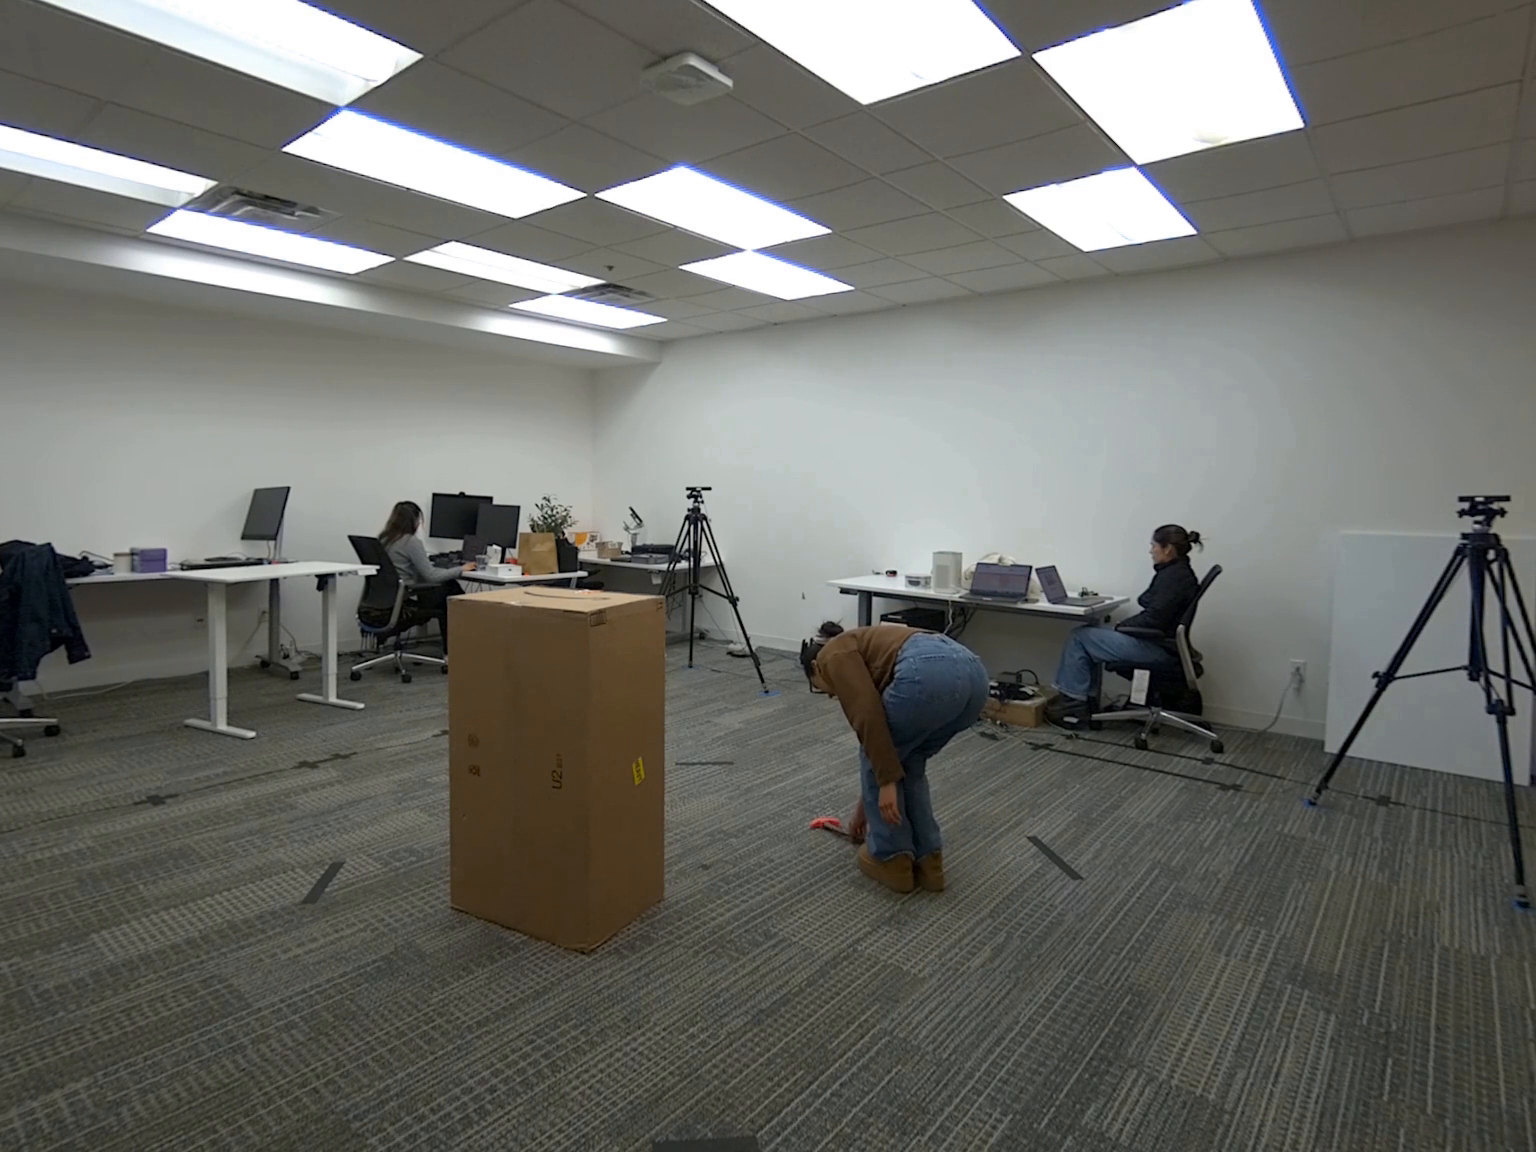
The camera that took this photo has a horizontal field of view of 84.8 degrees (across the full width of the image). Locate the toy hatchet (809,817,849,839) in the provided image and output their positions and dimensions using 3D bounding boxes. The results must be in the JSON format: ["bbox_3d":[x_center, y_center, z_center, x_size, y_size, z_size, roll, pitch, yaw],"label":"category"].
[{"bbox_3d":[0.298,1.022,3.459,0.279,0.029,0.127,5,7,39],"label":"toy hatchet"}]
